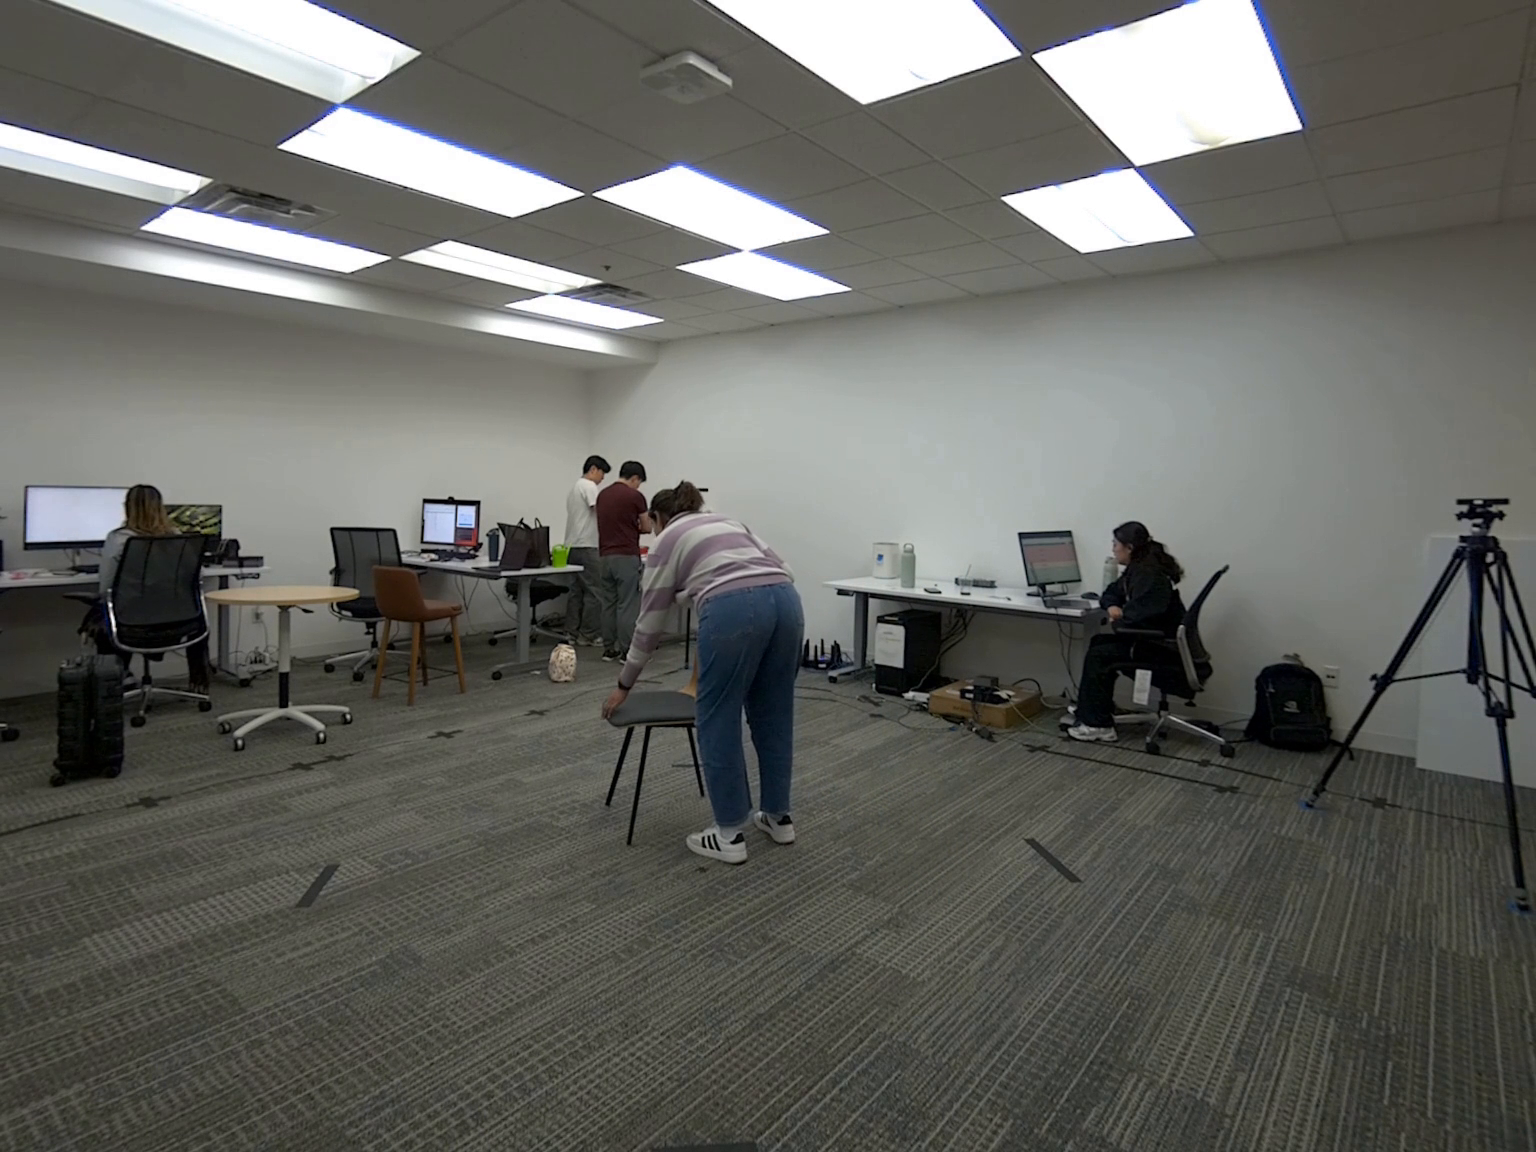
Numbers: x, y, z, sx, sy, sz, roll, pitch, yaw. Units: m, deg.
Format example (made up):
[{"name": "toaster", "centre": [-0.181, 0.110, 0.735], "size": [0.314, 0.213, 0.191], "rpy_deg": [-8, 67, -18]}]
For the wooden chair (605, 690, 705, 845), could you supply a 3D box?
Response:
[{"name": "wooden chair", "centre": [-0.433, 0.598, 3.558], "size": [0.512, 0.875, 0.490], "rpy_deg": [4, 3, -21]}]
